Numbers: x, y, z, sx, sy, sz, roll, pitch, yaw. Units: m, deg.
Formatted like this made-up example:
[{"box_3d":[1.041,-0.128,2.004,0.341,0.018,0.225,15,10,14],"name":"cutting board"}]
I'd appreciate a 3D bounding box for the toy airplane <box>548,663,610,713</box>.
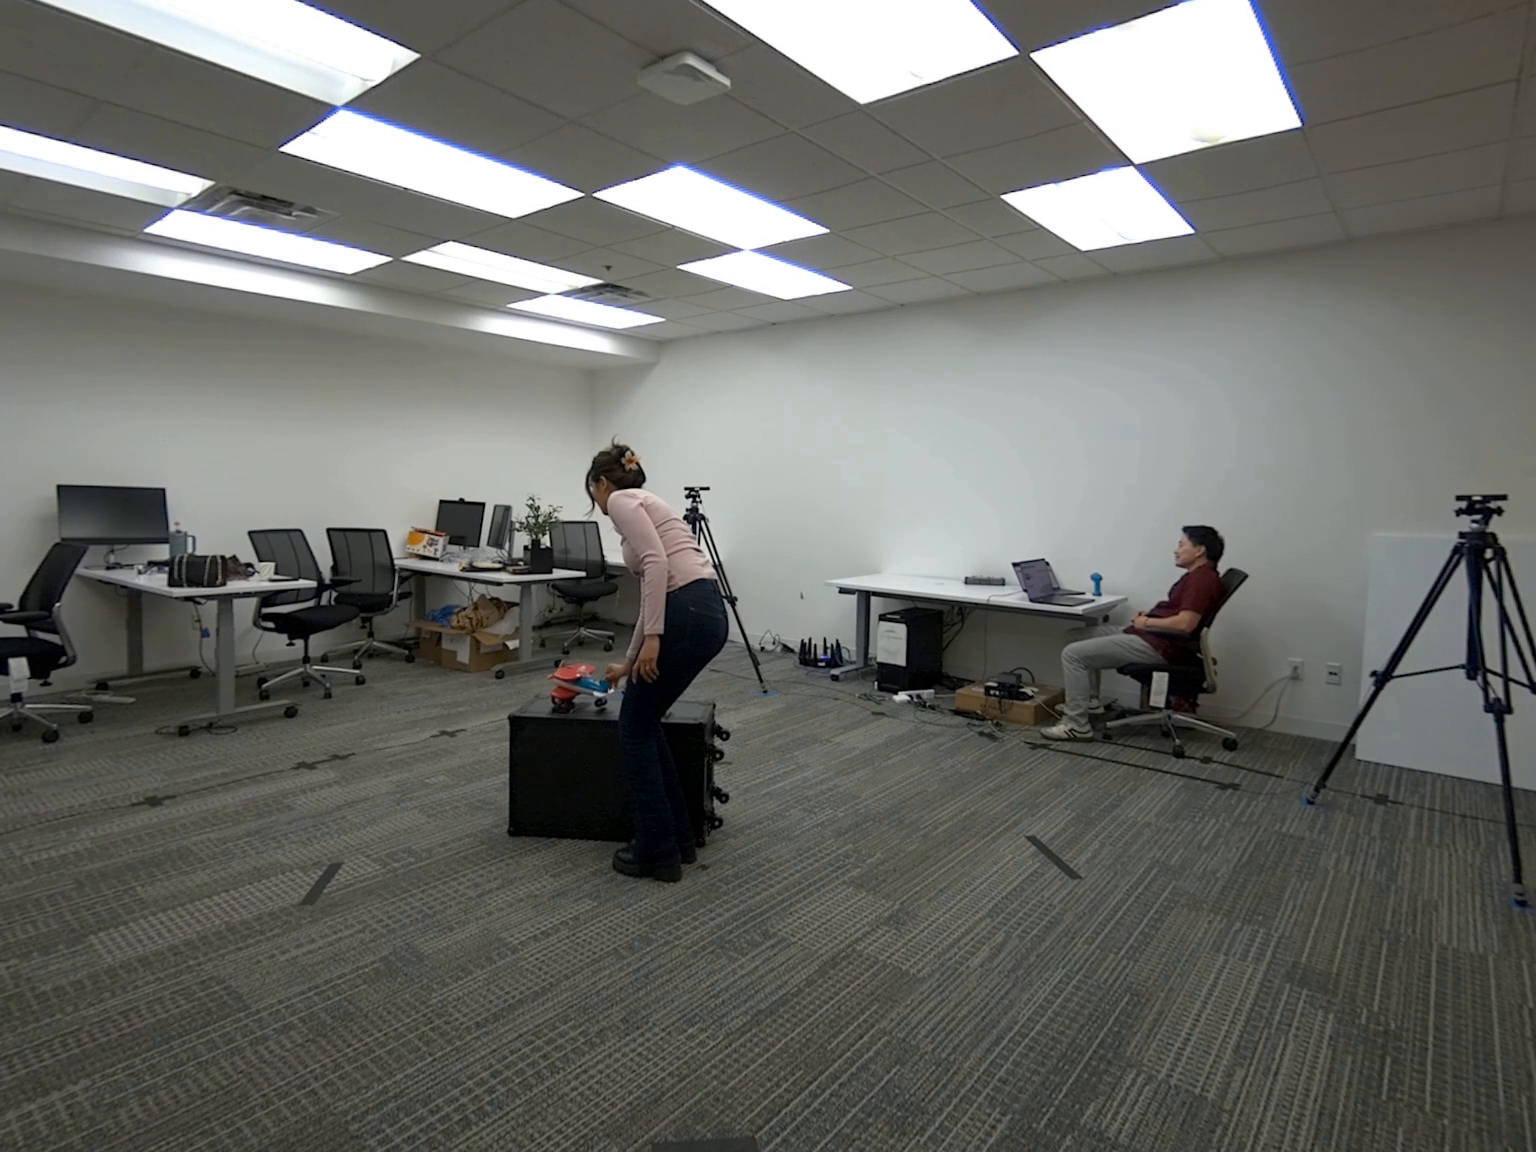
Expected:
[{"box_3d":[-0.786,0.453,3.542,0.257,0.156,0.254,-3,4,-9],"name":"toy airplane"}]
